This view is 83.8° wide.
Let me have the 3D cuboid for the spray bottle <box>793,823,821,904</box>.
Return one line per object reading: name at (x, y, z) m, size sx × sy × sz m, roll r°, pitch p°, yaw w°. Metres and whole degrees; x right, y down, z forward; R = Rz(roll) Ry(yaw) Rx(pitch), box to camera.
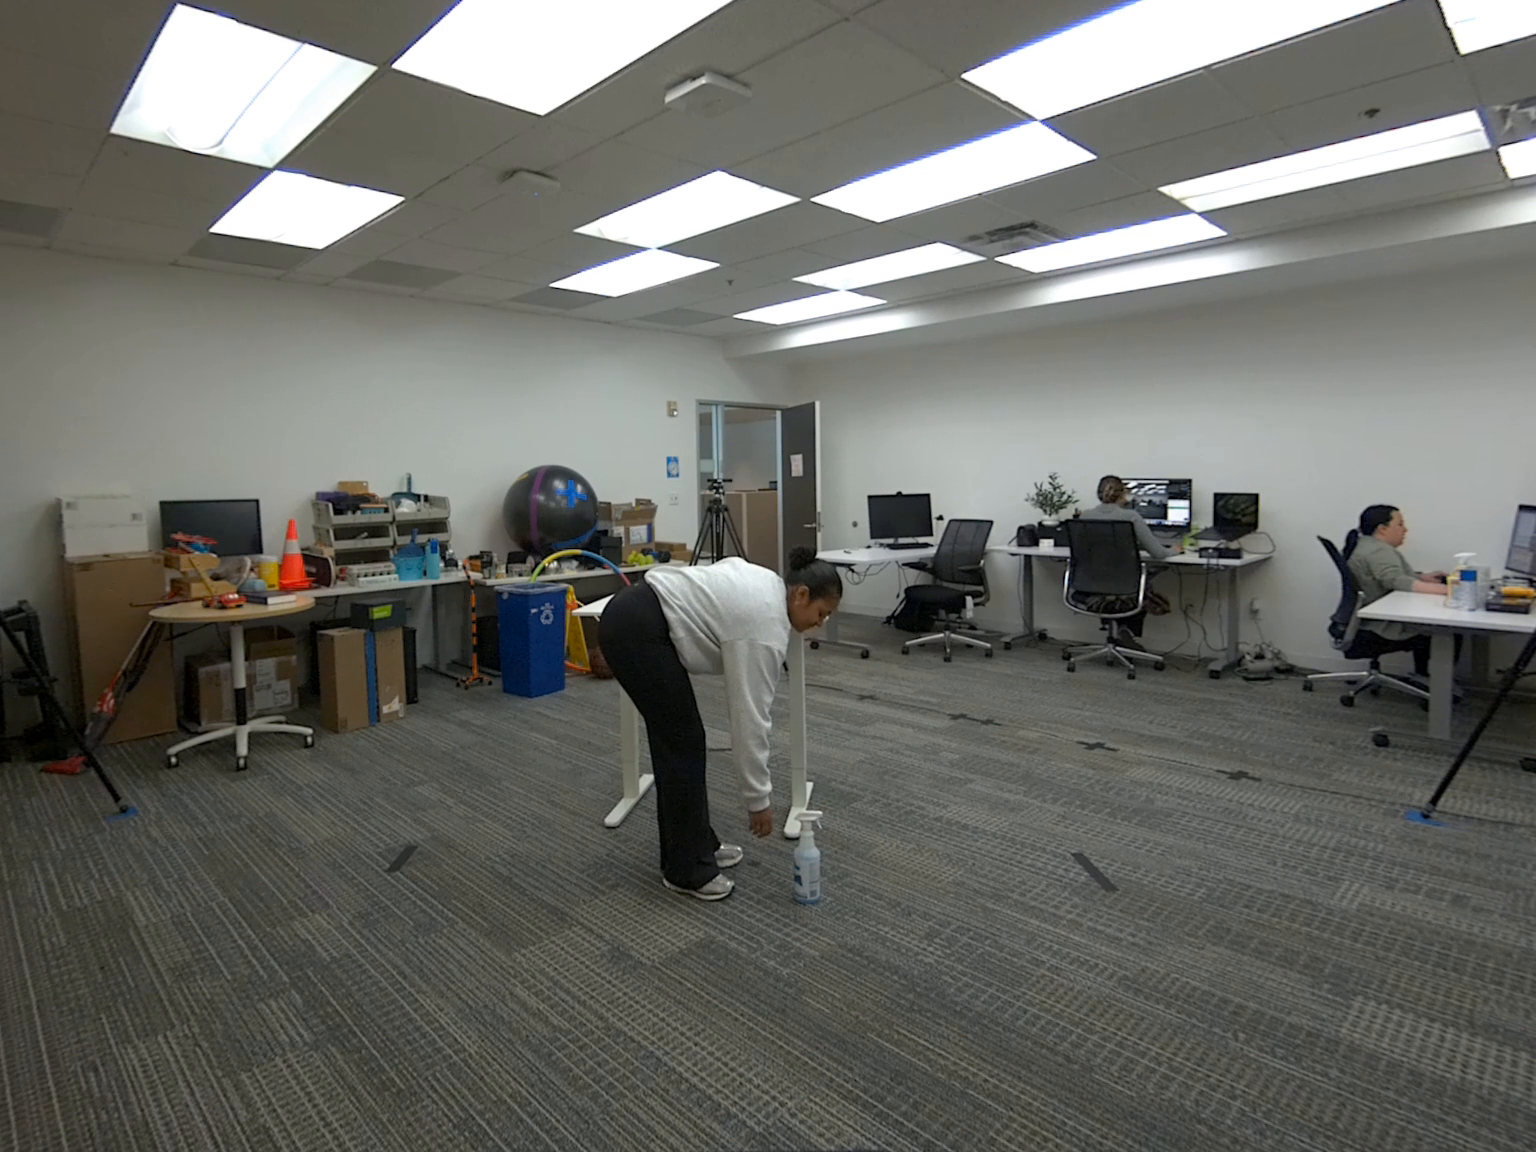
spray bottle at (0.128, 0.928, 2.831) m, size 0.092 × 0.297 × 0.085 m, roll 2°, pitch 3°, yaw 36°
